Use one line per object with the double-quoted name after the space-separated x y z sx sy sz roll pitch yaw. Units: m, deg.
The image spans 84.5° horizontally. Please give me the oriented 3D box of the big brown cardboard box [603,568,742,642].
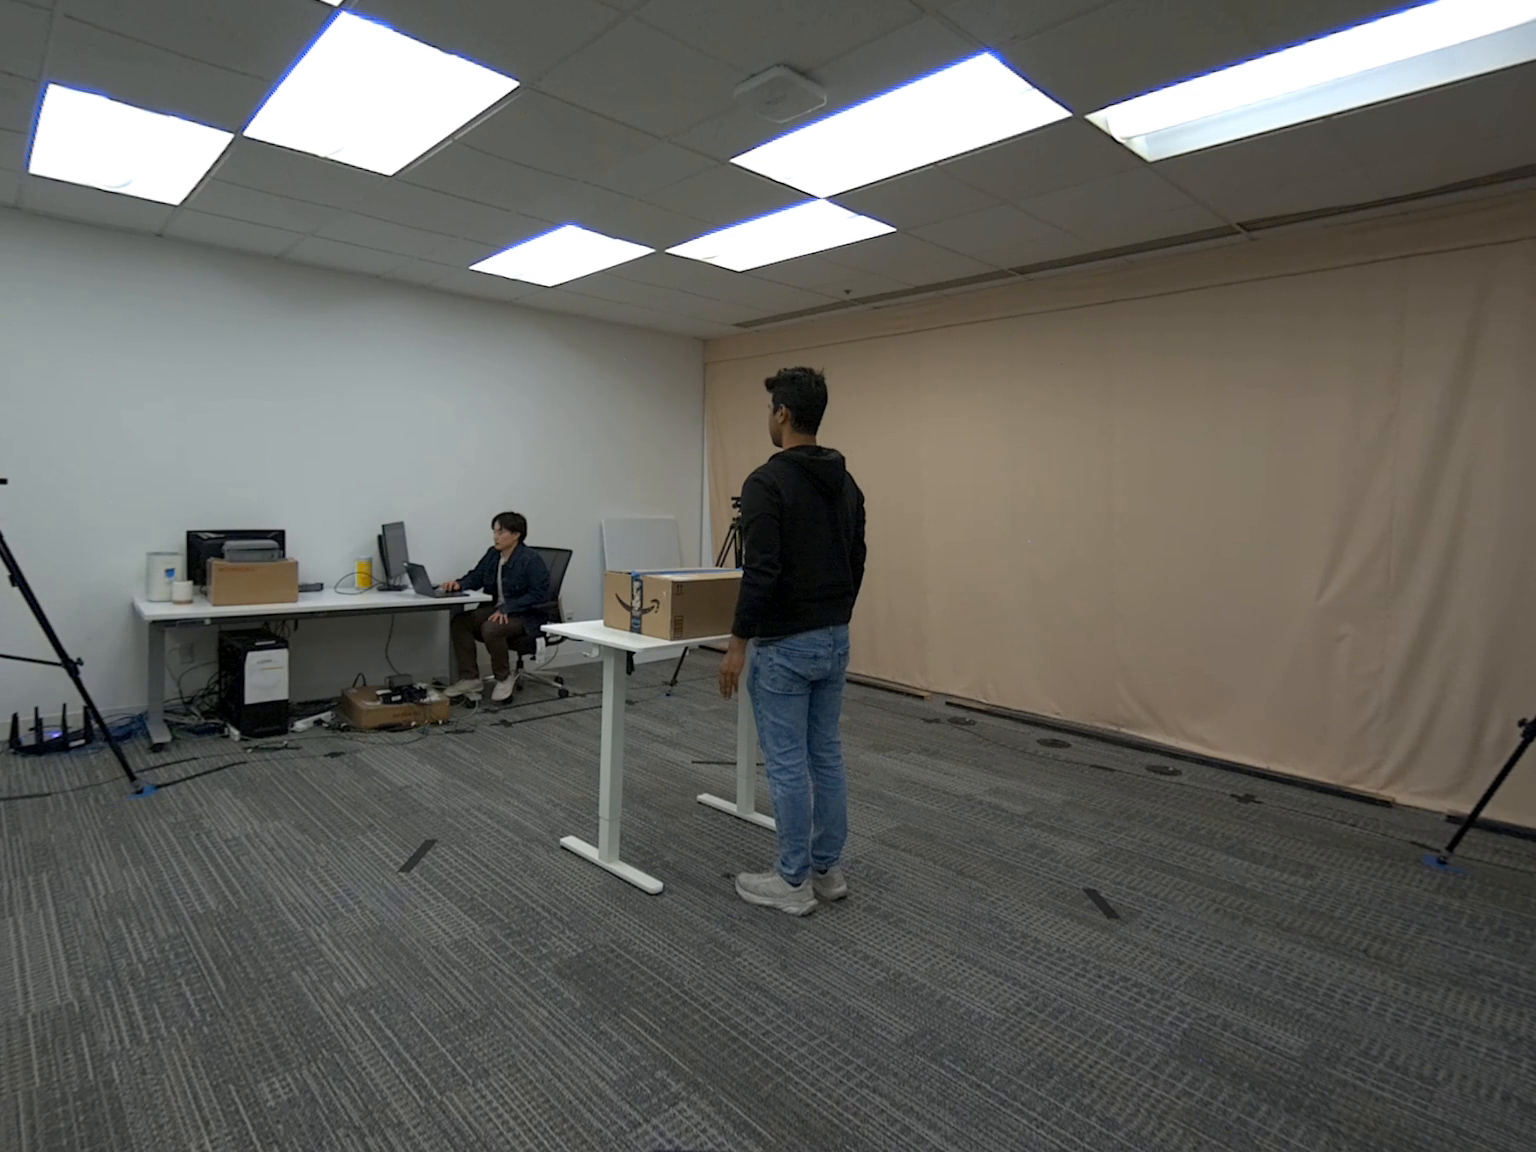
-0.301 0.092 3.304 0.428 0.232 0.575 6 5 44 "big brown cardboard box"
